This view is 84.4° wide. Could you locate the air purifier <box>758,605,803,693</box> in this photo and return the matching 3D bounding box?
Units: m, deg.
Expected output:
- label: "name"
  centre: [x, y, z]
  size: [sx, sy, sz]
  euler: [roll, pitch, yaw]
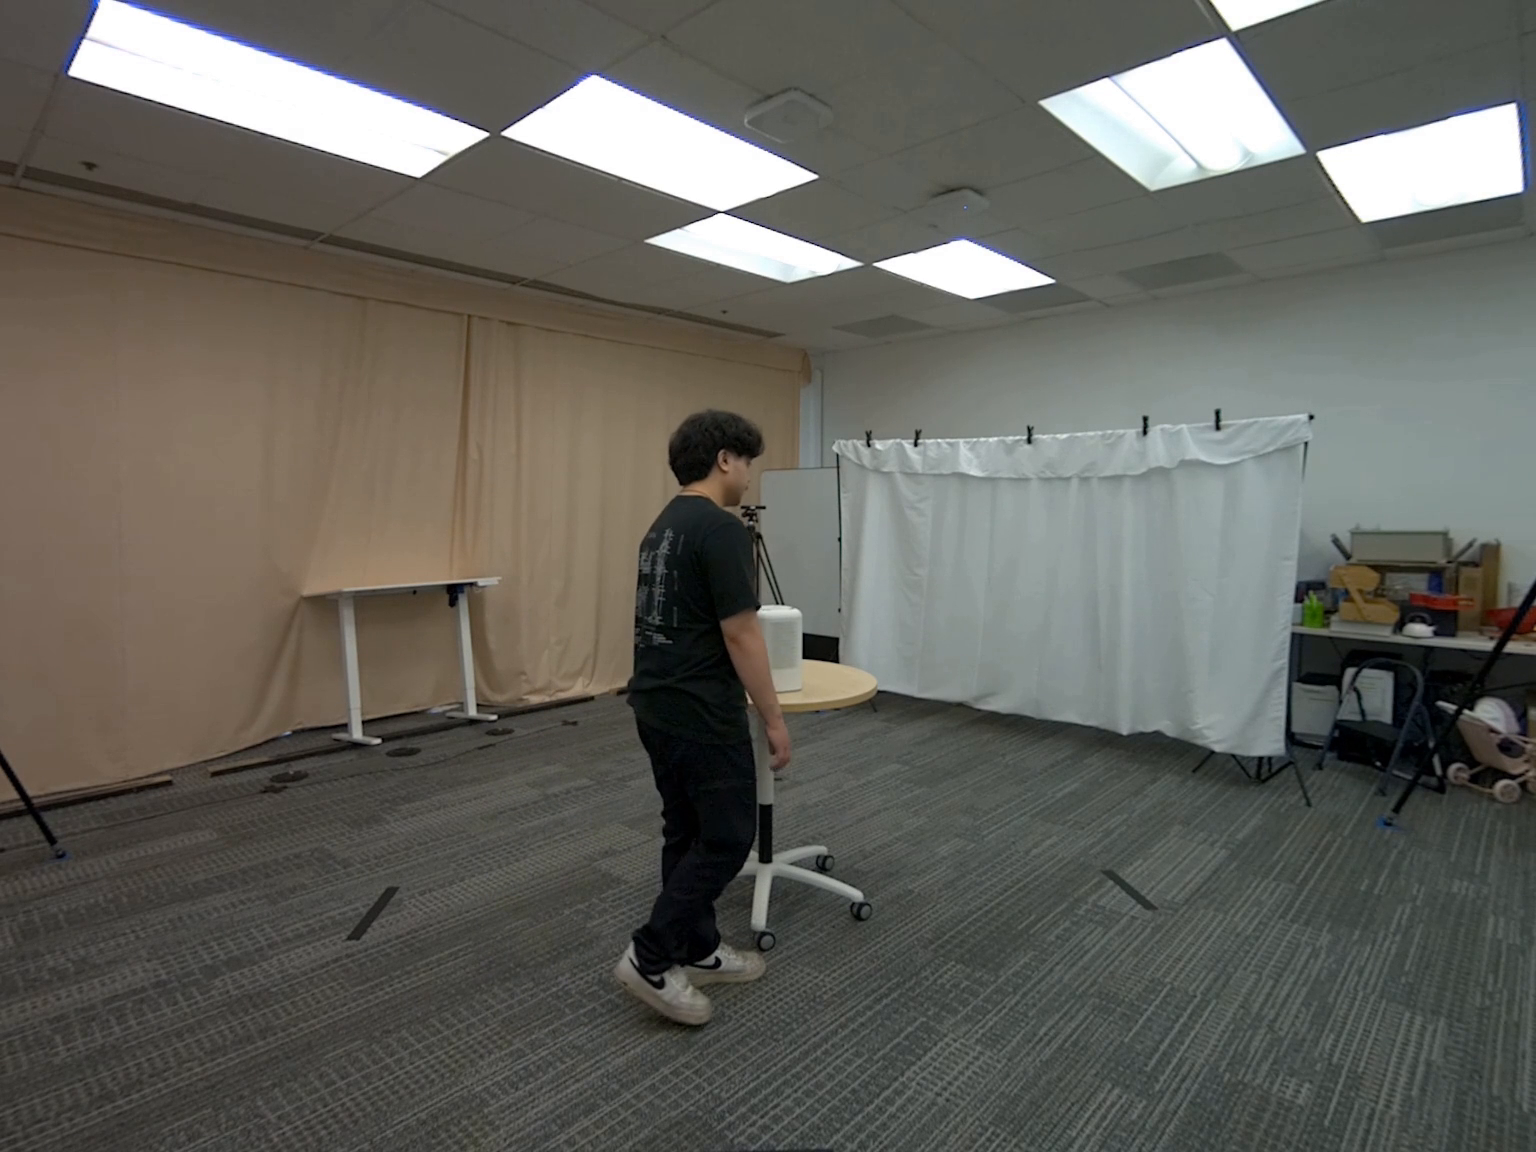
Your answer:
- label: "air purifier"
  centre: [0.026, 0.237, 2.771]
  size: [0.168, 0.265, 0.175]
  euler: [-1, 5, -20]
